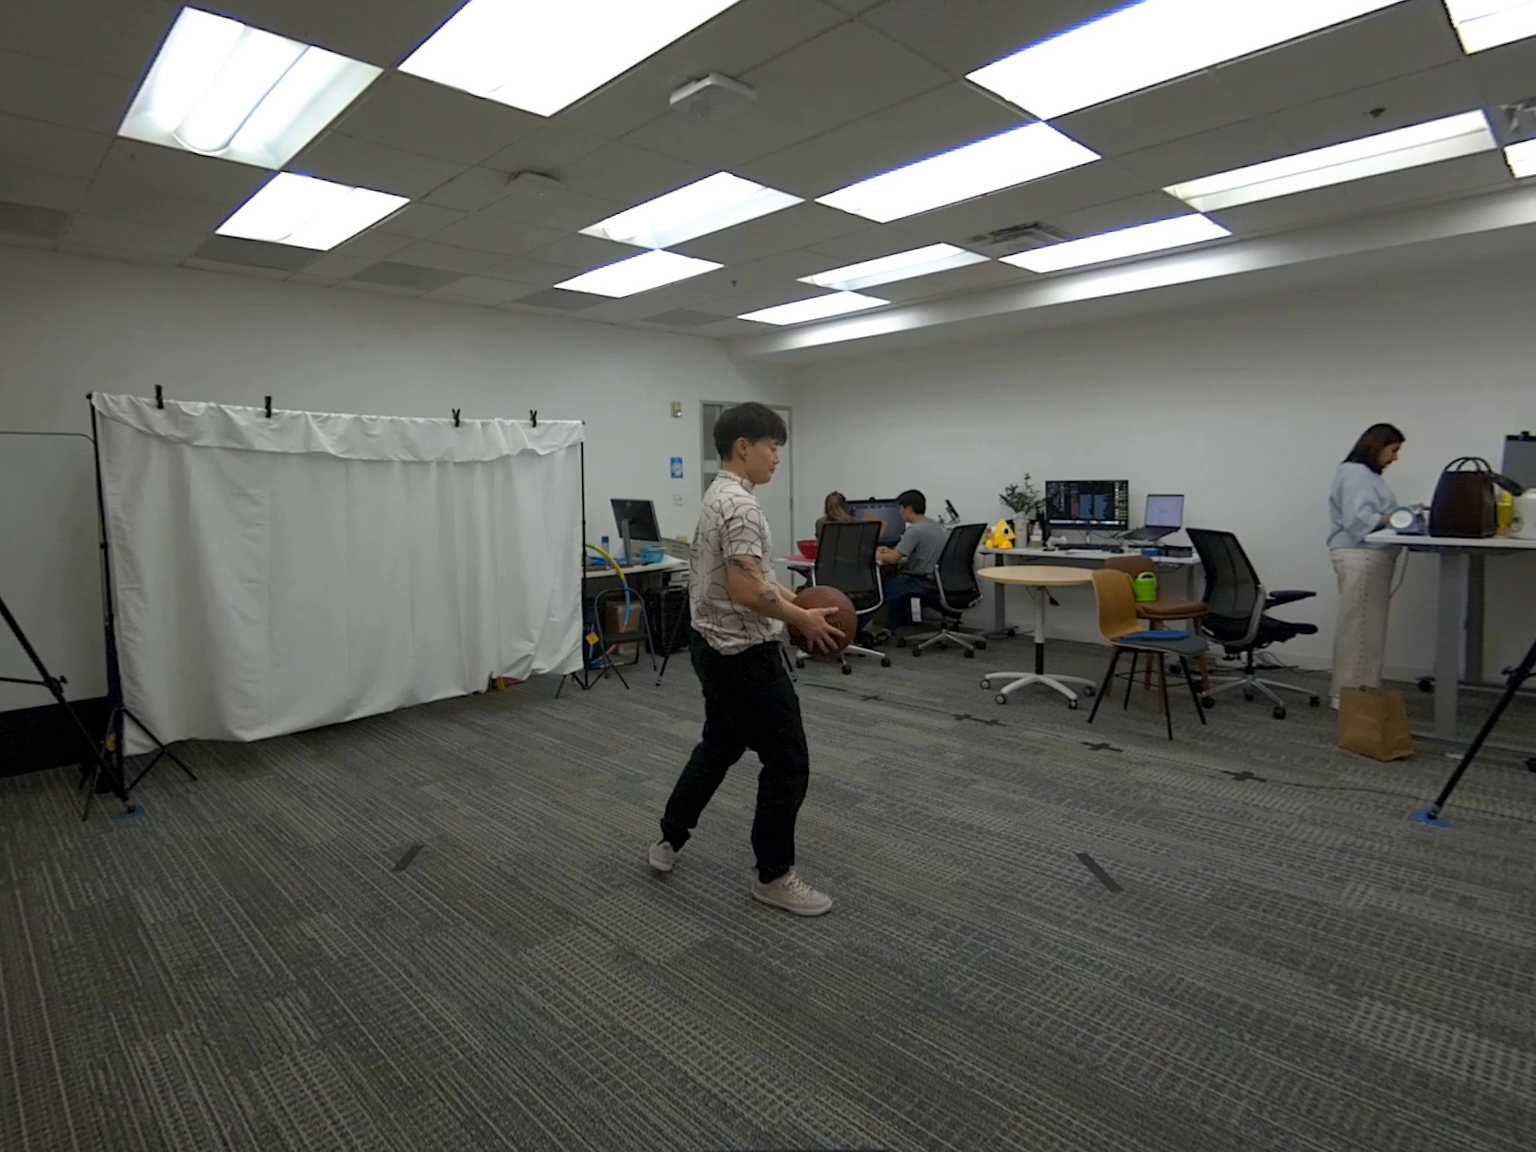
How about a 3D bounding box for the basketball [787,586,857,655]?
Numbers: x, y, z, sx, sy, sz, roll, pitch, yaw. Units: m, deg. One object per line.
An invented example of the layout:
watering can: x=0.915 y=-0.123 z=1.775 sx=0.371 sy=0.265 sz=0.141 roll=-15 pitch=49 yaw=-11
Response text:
basketball: x=0.185 y=0.134 z=2.879 sx=0.236 sy=0.235 sz=0.237 roll=-1 pitch=5 yaw=-2
